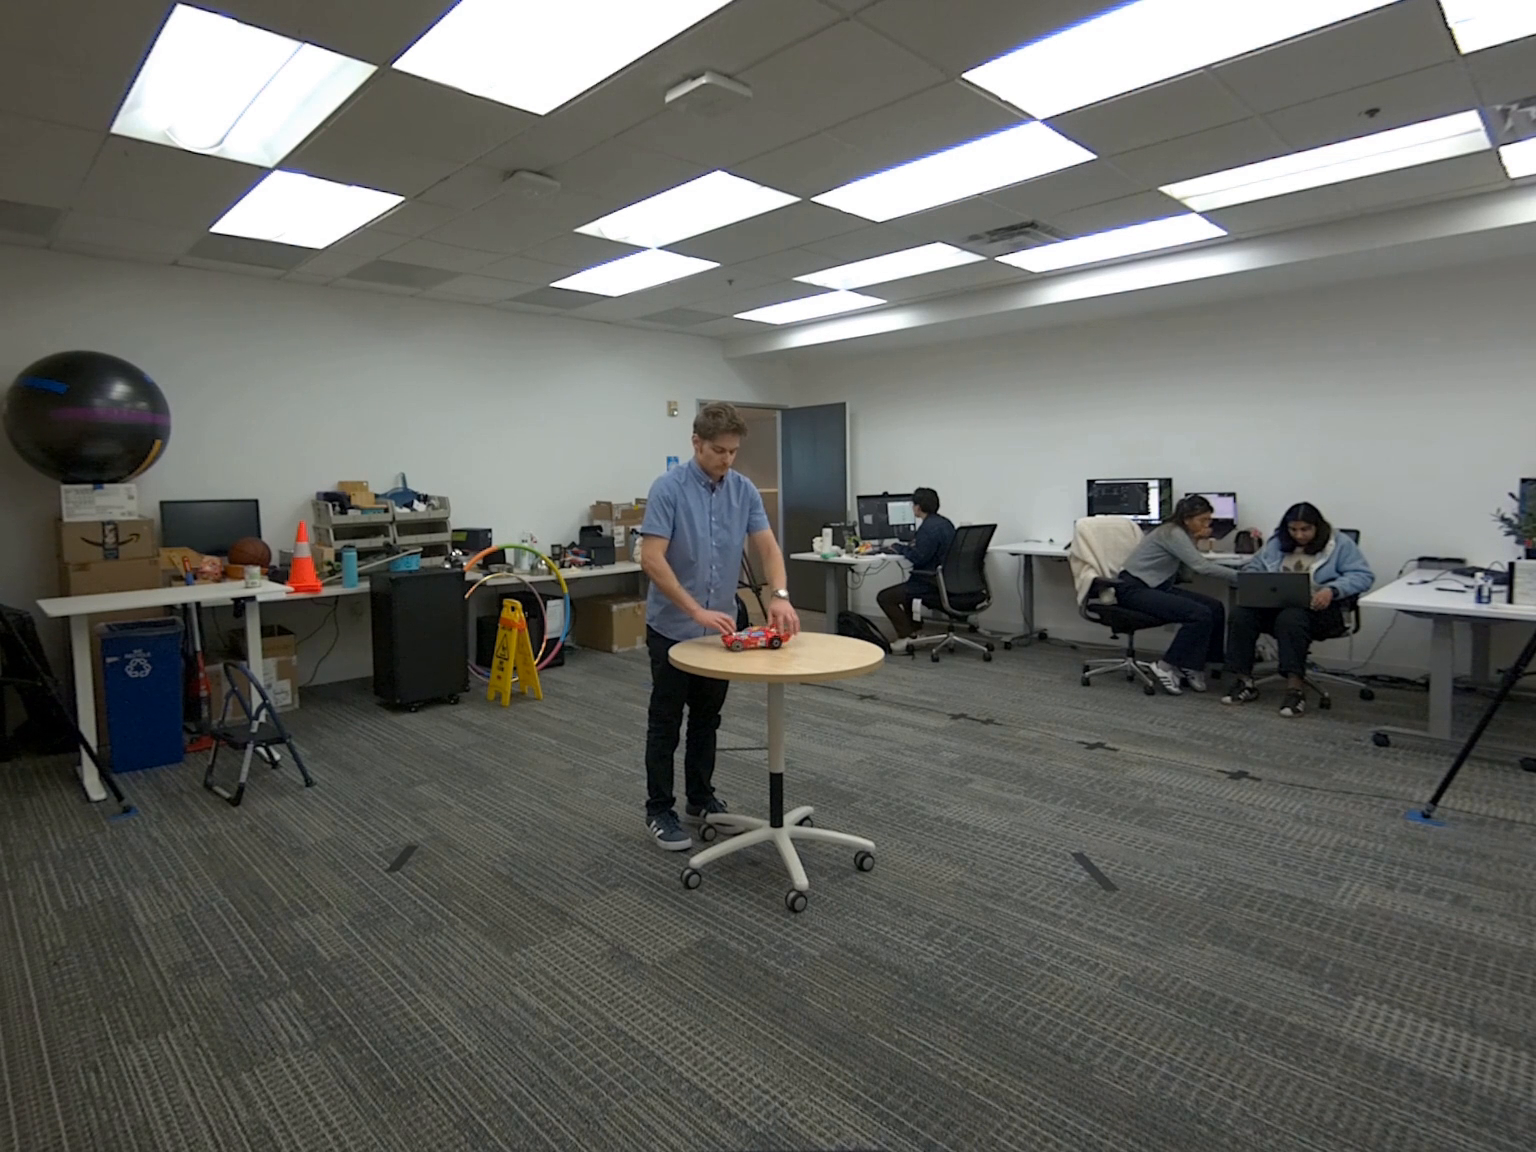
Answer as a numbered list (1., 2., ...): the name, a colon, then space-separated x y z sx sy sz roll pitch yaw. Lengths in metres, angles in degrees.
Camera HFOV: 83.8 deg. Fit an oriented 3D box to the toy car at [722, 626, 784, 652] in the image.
1. toy car: -0.035 0.229 3.097 0.252 0.082 0.133 -12 9 -13
